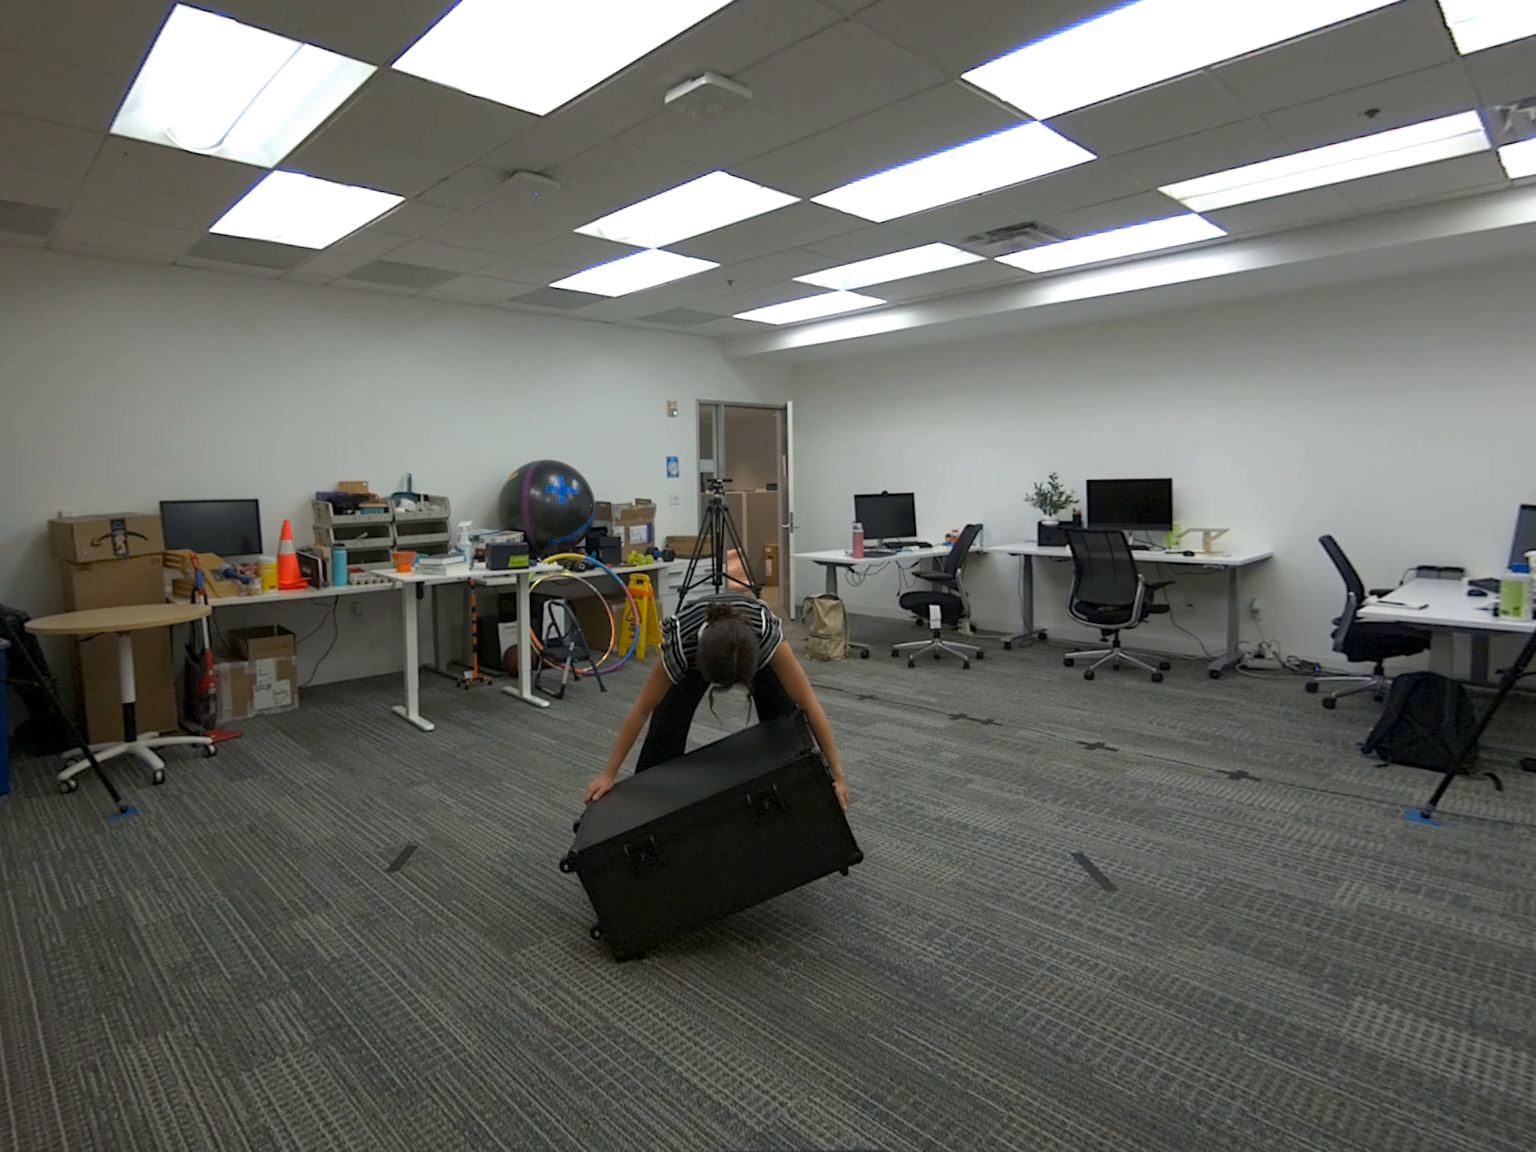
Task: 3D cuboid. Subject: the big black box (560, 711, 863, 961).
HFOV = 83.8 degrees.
[{"bbox_3d":[-0.195,0.812,2.698,0.863,0.393,0.524,-21,7,3],"label":"big black box"}]
